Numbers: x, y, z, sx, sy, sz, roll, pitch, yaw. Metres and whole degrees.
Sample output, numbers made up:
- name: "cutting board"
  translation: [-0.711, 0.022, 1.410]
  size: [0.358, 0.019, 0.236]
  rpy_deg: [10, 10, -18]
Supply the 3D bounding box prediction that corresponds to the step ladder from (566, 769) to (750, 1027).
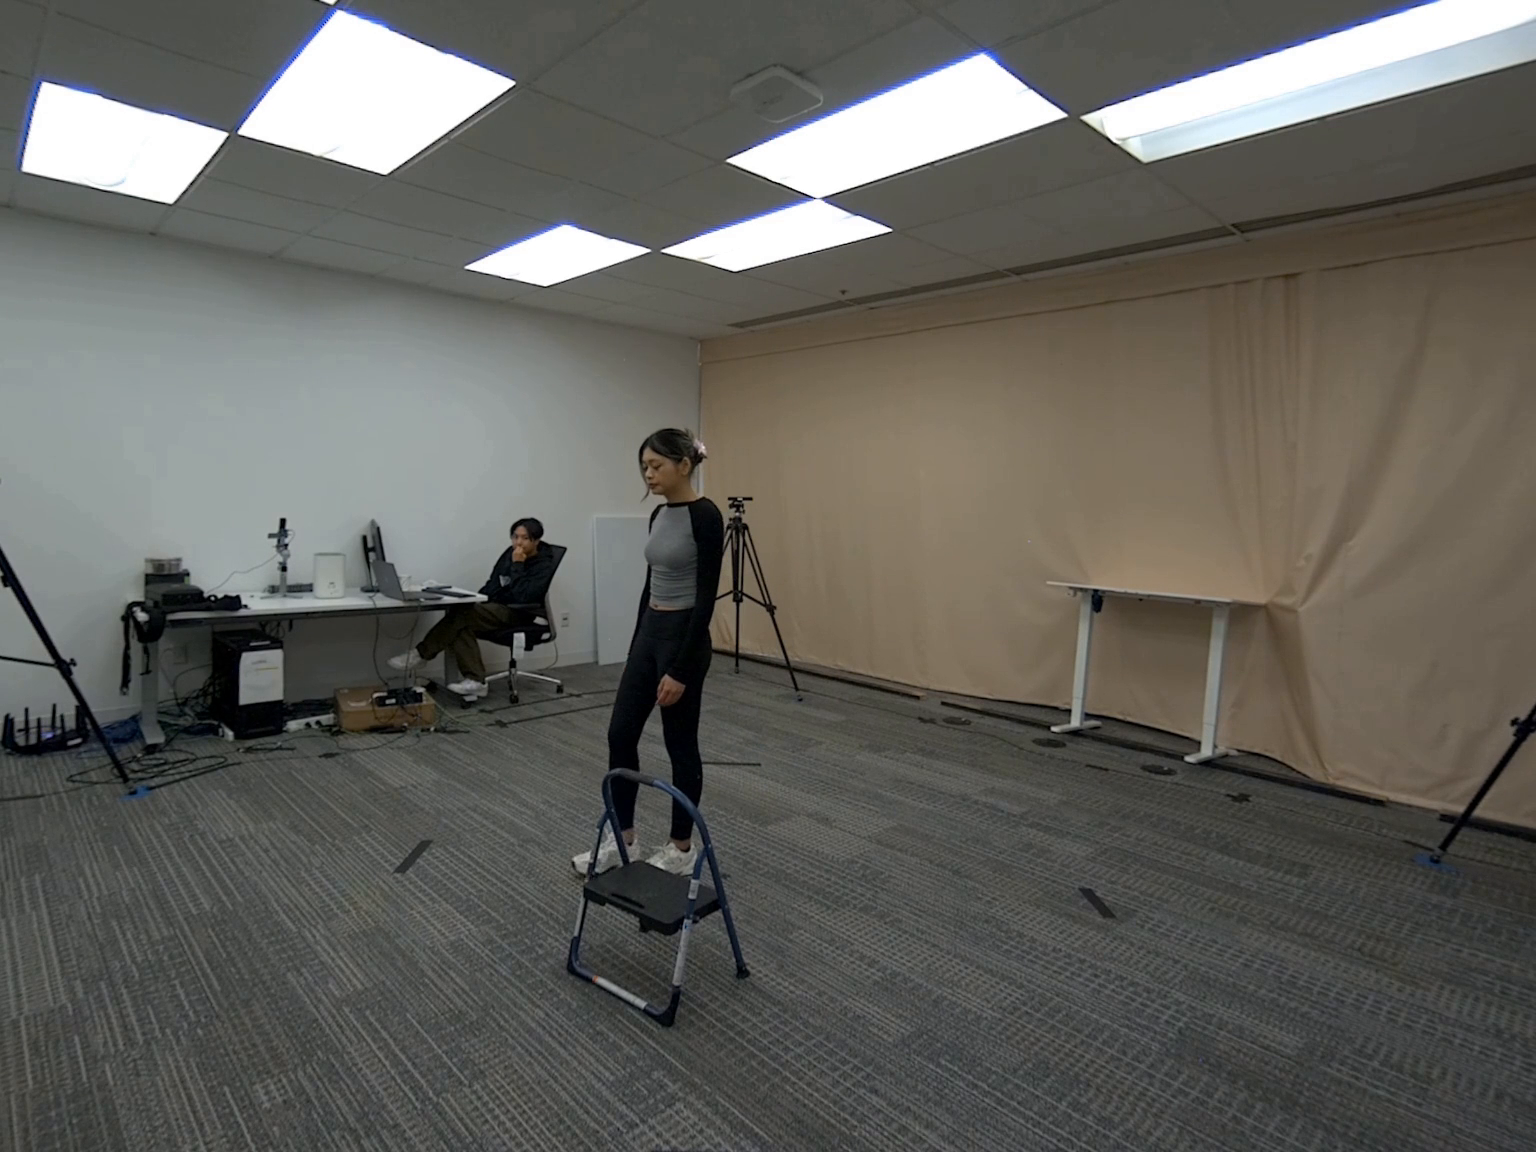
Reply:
- name: "step ladder"
  translation: [-0.319, 0.862, 2.448]
  size: [0.441, 0.605, 0.341]
  rpy_deg: [3, 4, 37]
